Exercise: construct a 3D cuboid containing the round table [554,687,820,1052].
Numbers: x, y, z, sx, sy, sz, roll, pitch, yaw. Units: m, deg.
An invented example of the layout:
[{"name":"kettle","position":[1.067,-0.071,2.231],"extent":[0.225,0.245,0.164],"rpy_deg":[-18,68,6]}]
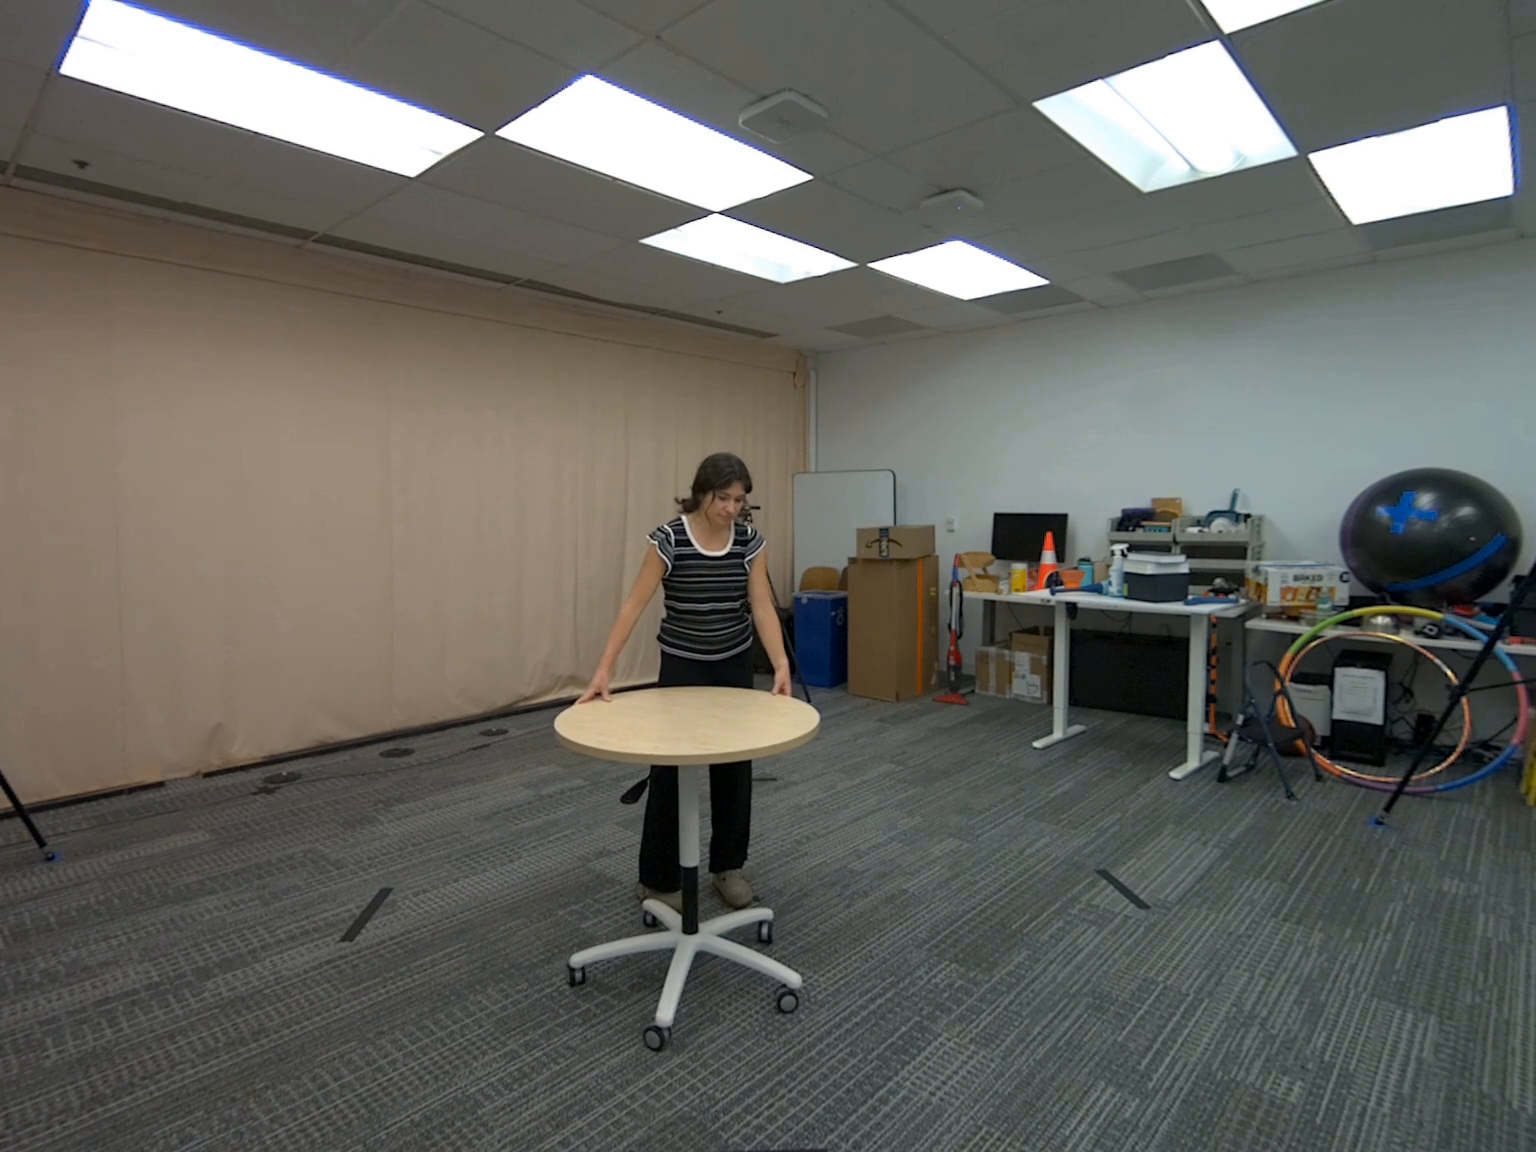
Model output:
[{"name":"round table","position":[-0.237,0.794,2.458],"extent":[0.784,0.785,0.788],"rpy_deg":[-1,4,-2]}]
